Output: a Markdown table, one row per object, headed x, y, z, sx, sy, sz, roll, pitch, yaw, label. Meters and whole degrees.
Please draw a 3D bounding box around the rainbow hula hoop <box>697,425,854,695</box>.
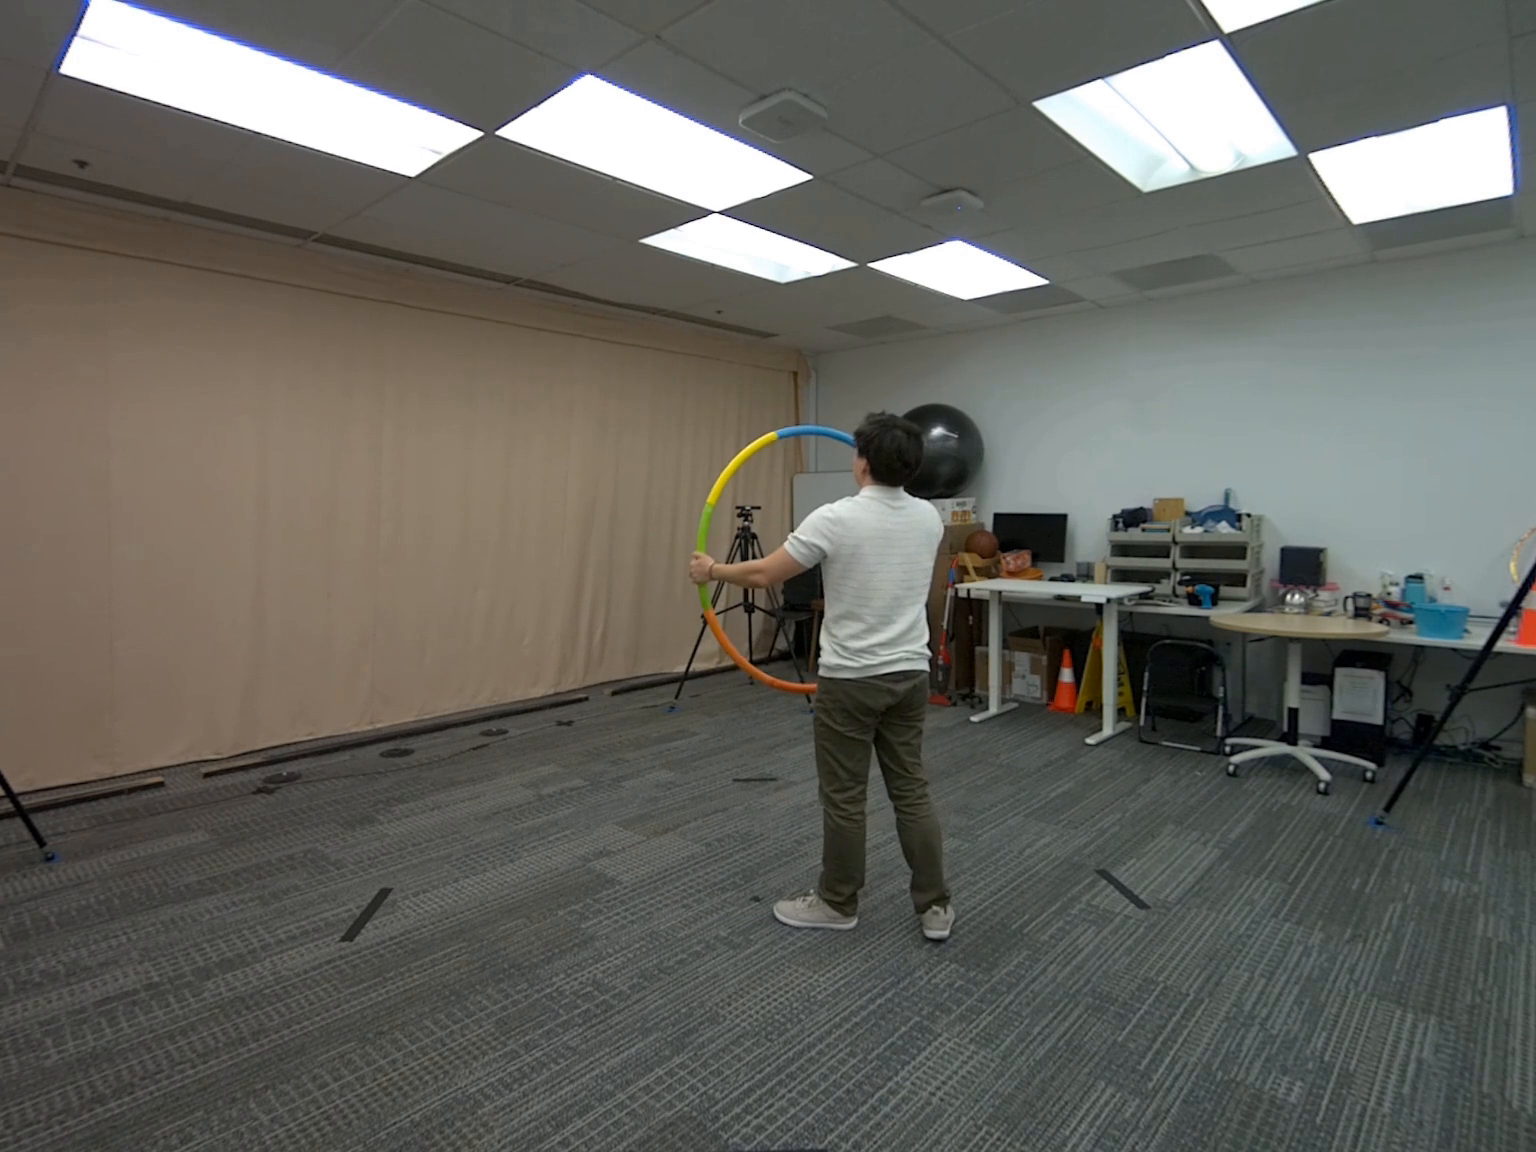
| x | y | z | sx | sy | sz | roll | pitch | yaw | label |
| --- | --- | --- | --- | --- | --- | --- | --- | --- | --- |
| 0.184 | -0.065 | 3.136 | 0.954 | 0.978 | 0.036 | -2 | 1 | -26 | rainbow hula hoop |
